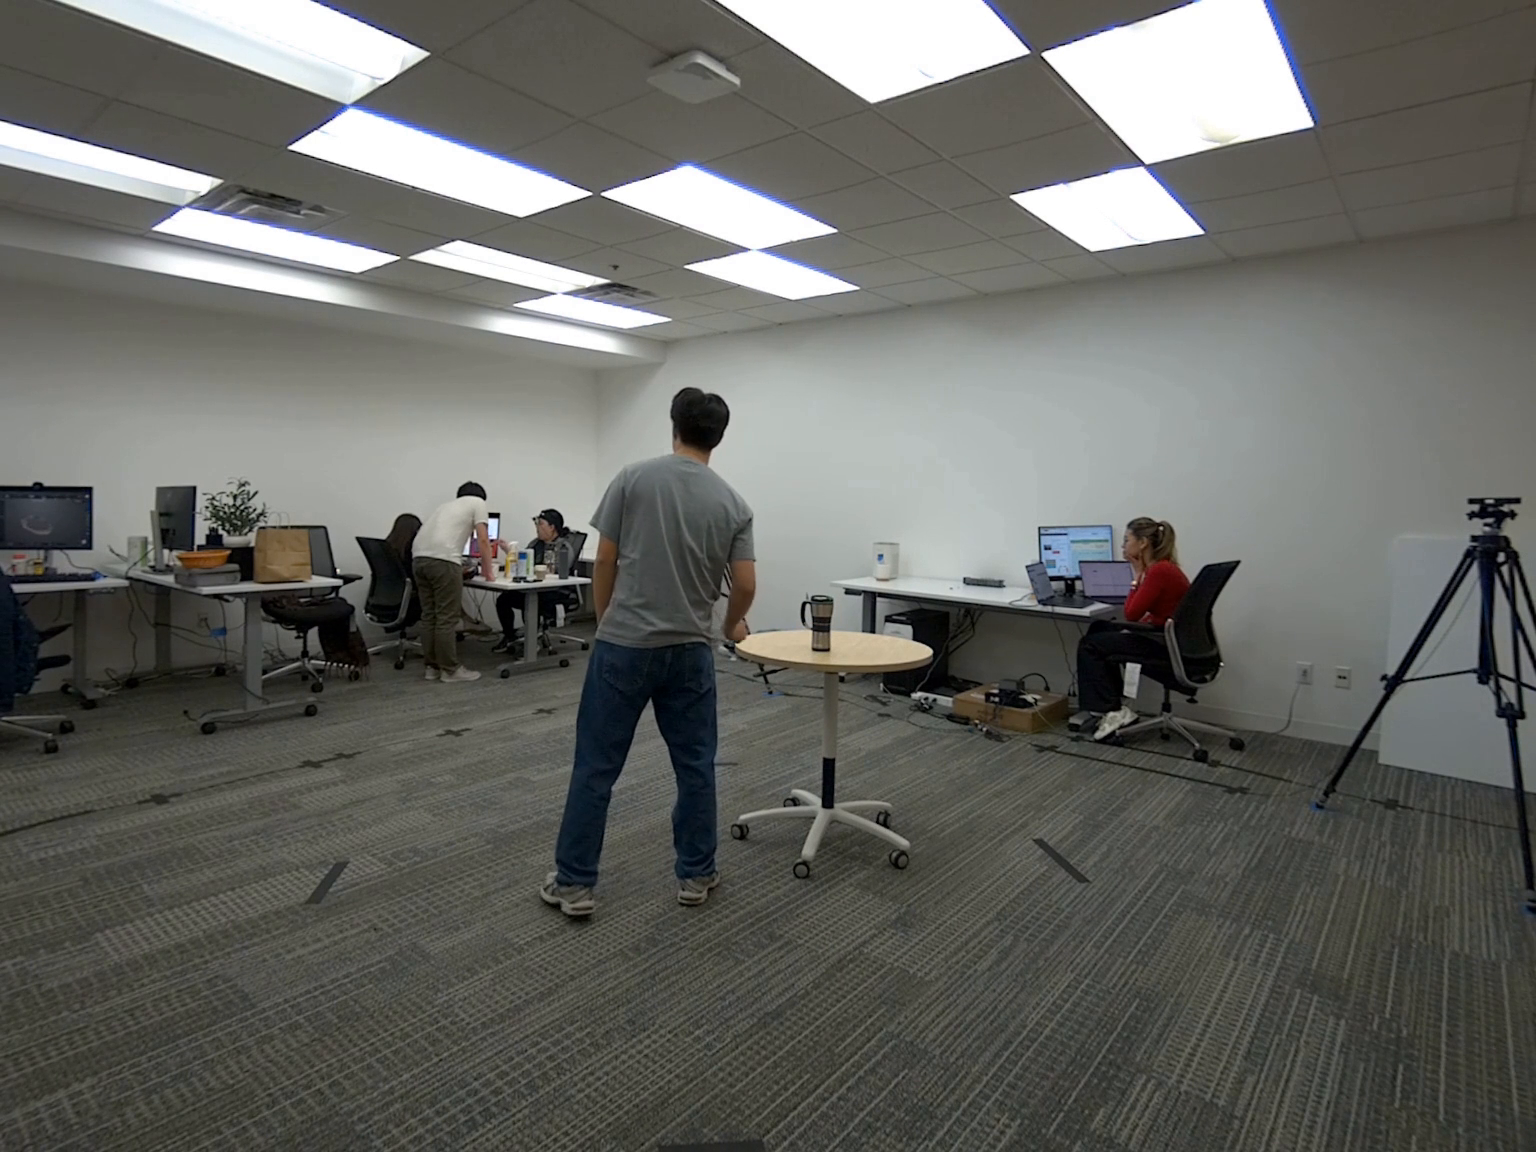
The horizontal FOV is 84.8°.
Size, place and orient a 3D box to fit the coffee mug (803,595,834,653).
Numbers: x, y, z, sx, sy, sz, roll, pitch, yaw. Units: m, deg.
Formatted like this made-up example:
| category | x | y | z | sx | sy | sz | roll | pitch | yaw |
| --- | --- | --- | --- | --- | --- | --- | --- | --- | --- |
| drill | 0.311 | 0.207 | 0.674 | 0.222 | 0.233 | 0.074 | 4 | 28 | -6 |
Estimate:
| category | x | y | z | sx | sy | sz | roll | pitch | yaw |
| --- | --- | --- | --- | --- | --- | --- | --- | --- | --- |
| coffee mug | 0.181 | 0.178 | 3.245 | 0.126 | 0.201 | 0.085 | 7 | 10 | 40 |
